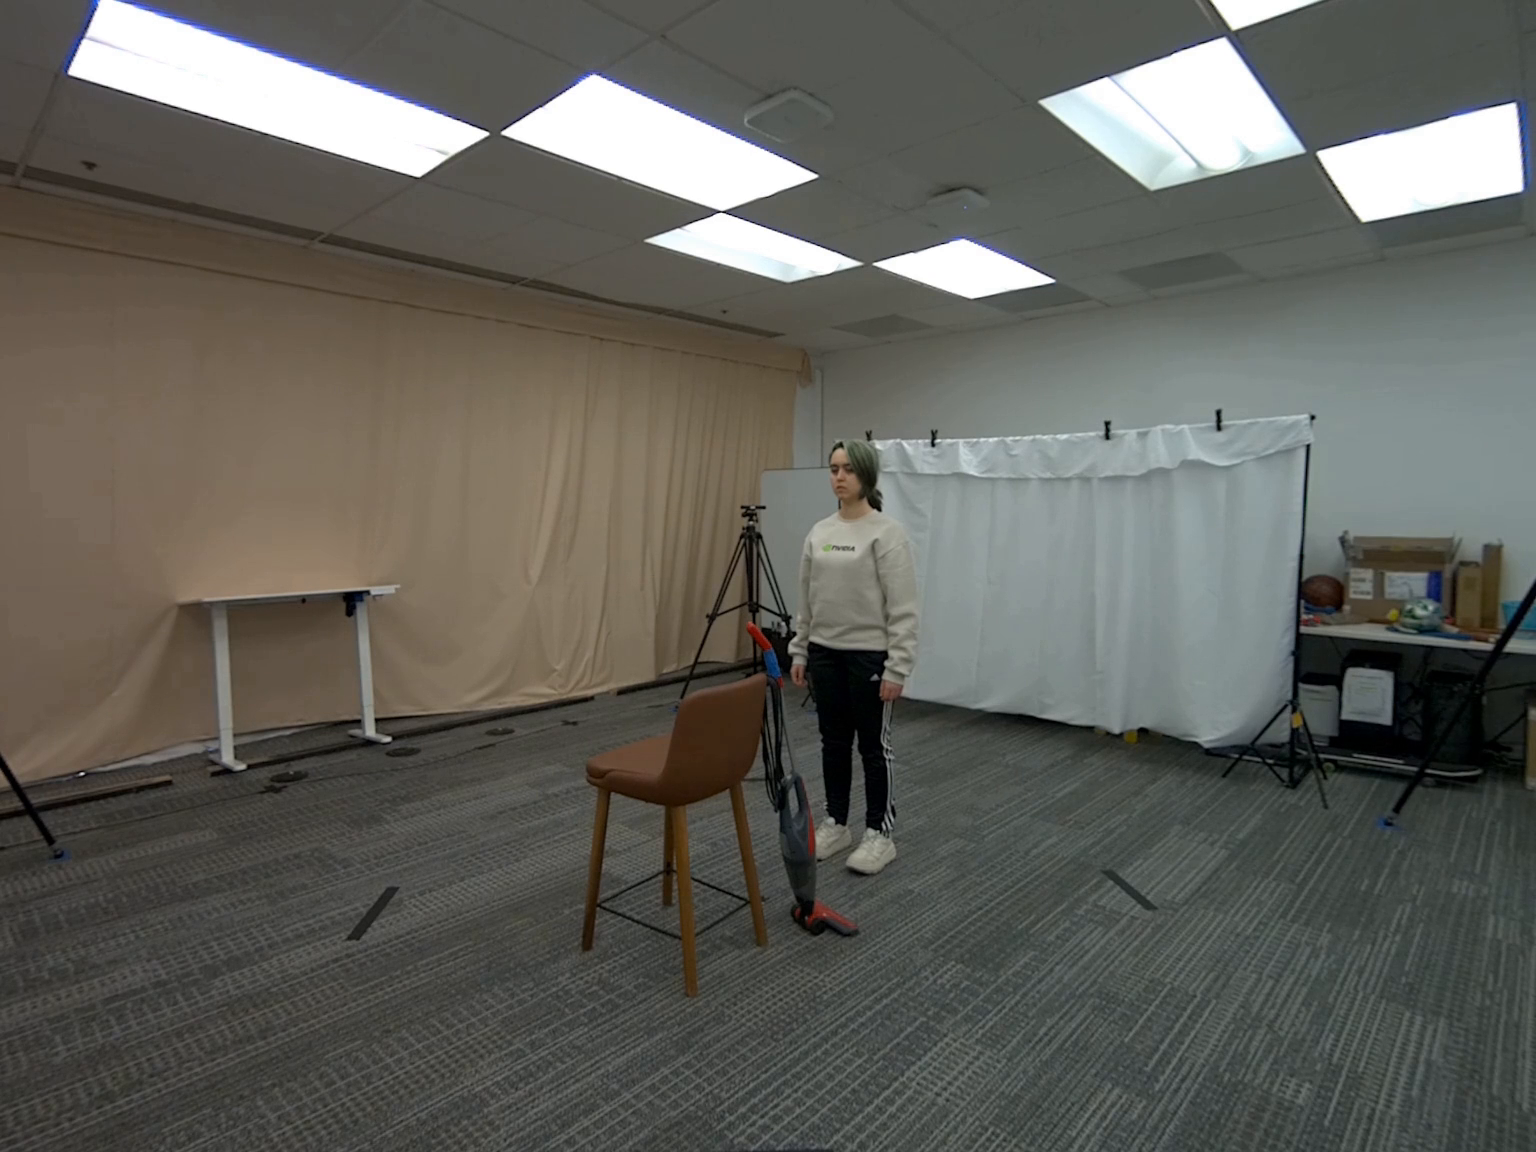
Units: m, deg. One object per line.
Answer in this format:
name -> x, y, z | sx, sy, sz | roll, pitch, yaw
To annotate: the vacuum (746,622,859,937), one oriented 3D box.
vacuum -> 0.070, 0.662, 2.720 | 0.141, 1.040, 0.260 | -18, 12, -31
